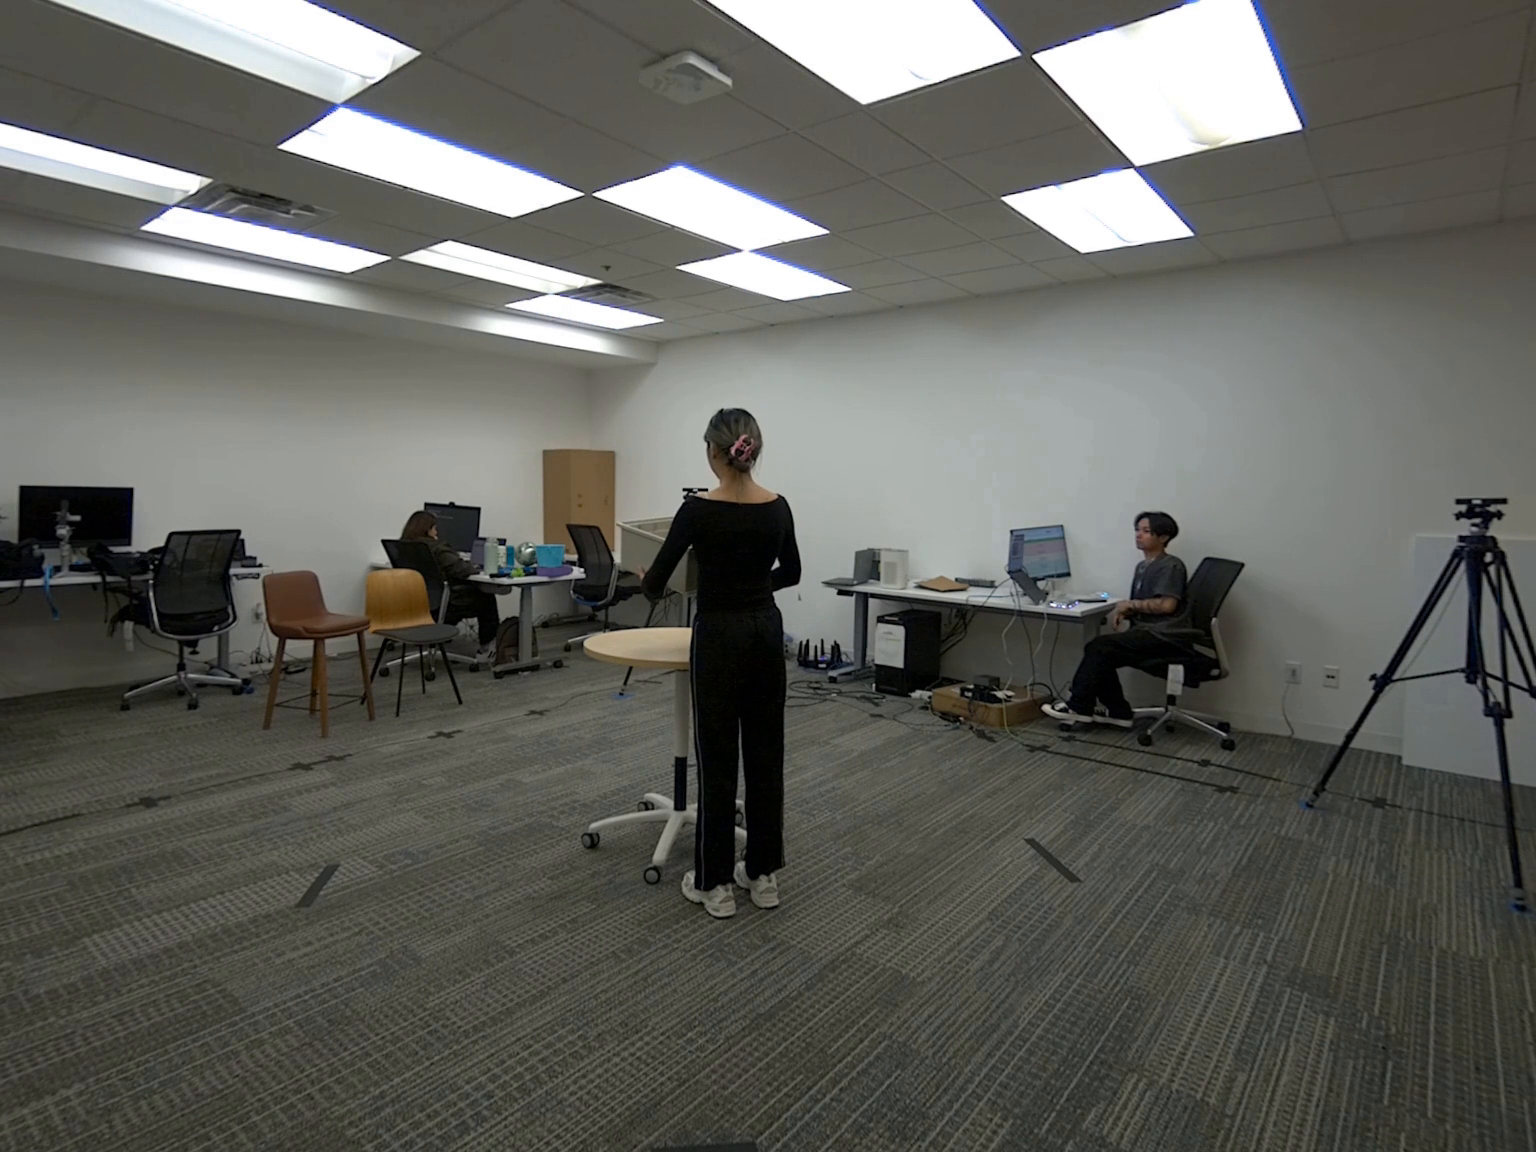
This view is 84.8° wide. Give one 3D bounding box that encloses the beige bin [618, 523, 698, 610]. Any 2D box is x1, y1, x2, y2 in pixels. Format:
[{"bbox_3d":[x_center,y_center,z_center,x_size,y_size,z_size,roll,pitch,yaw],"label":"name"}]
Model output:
[{"bbox_3d":[-0.293,-0.086,3.141,0.368,0.186,0.439,-12,22,-42],"label":"beige bin"}]
